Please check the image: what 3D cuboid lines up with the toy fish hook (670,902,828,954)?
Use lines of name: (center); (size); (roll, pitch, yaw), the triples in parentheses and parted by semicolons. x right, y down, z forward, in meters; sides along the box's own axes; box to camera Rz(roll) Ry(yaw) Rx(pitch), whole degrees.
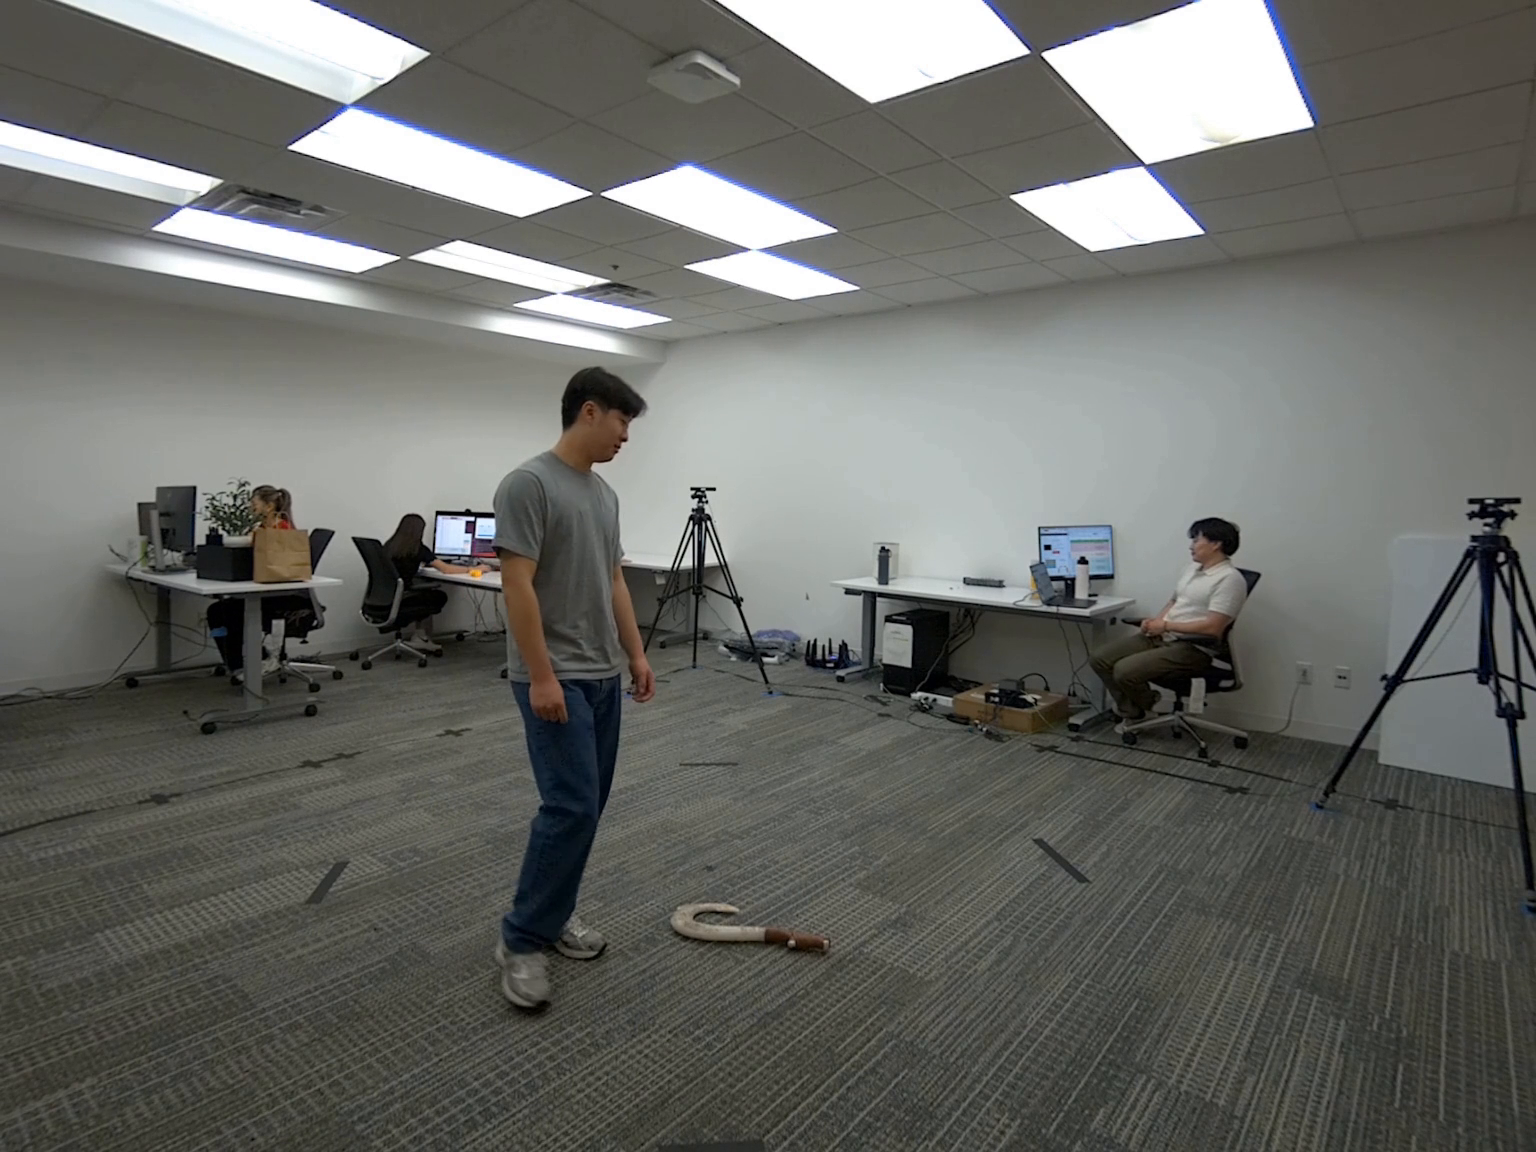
toy fish hook: (-0.058, 1.092, 2.660); (0.514, 0.048, 0.222); (3, 7, 13)
